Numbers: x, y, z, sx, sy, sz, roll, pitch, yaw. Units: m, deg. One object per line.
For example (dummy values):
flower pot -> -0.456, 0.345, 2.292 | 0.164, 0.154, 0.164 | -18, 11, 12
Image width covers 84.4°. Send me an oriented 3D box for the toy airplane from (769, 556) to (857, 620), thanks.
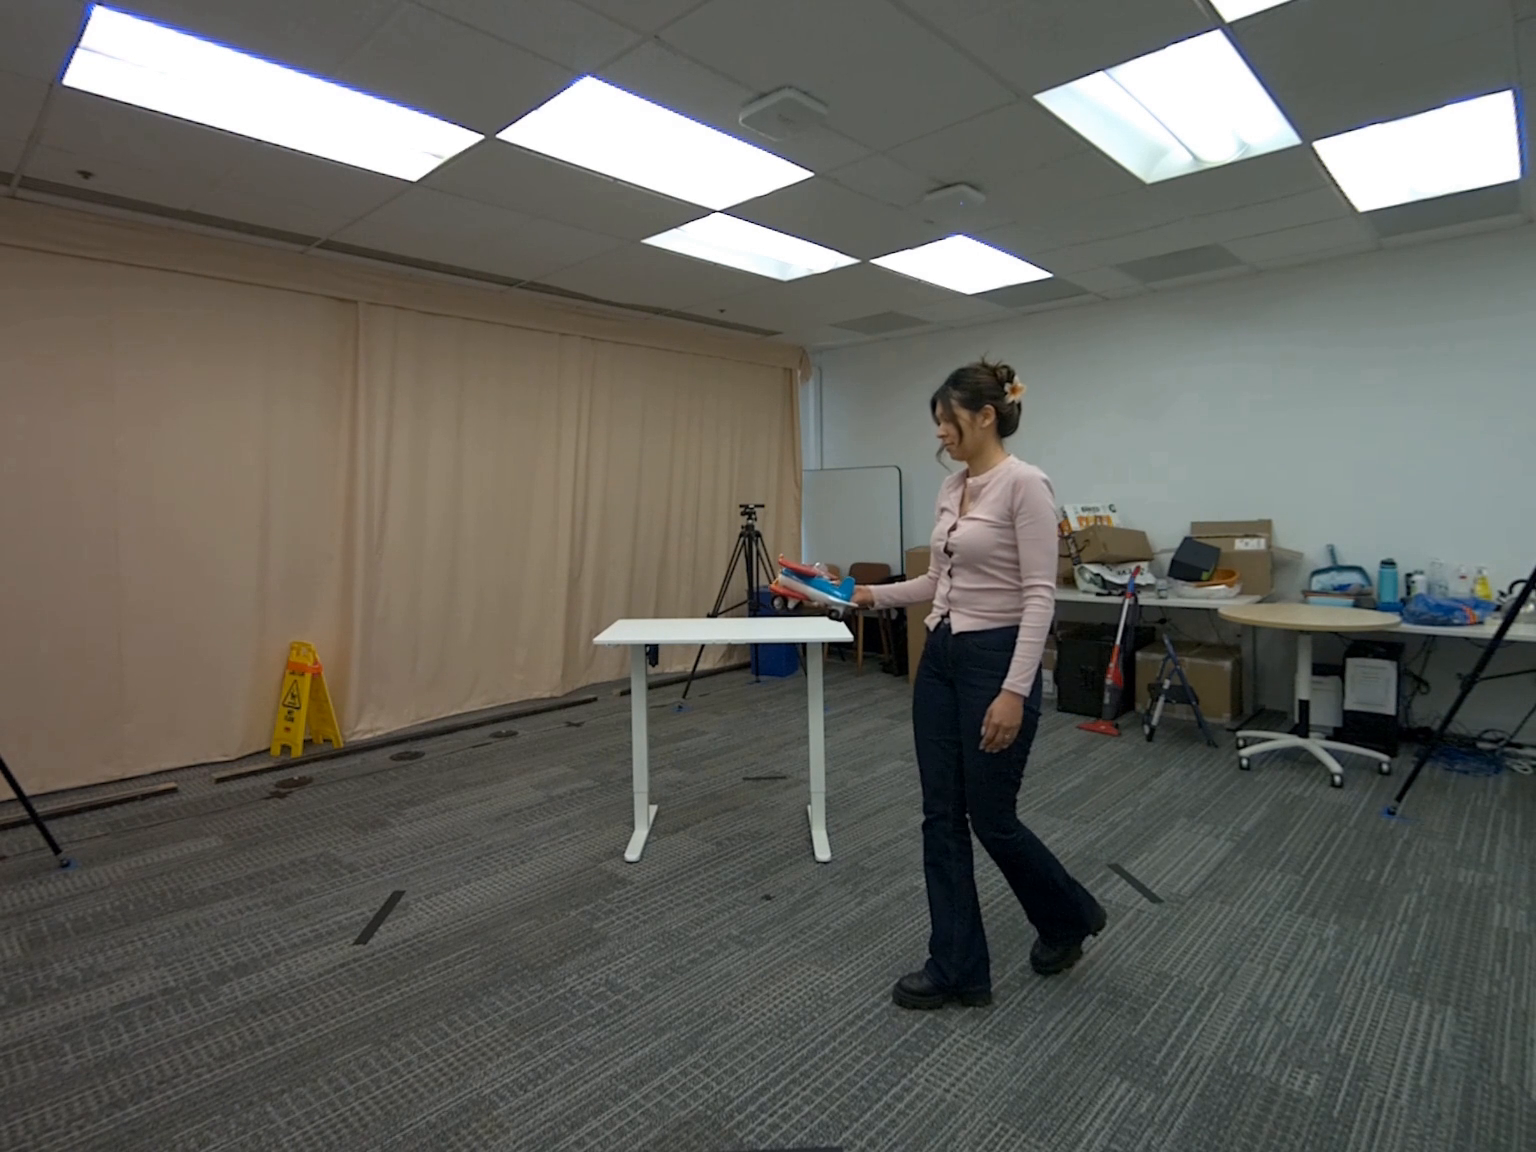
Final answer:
toy airplane -> 0.146, 0.046, 2.484 | 0.262, 0.157, 0.247 | 9, -5, 10
